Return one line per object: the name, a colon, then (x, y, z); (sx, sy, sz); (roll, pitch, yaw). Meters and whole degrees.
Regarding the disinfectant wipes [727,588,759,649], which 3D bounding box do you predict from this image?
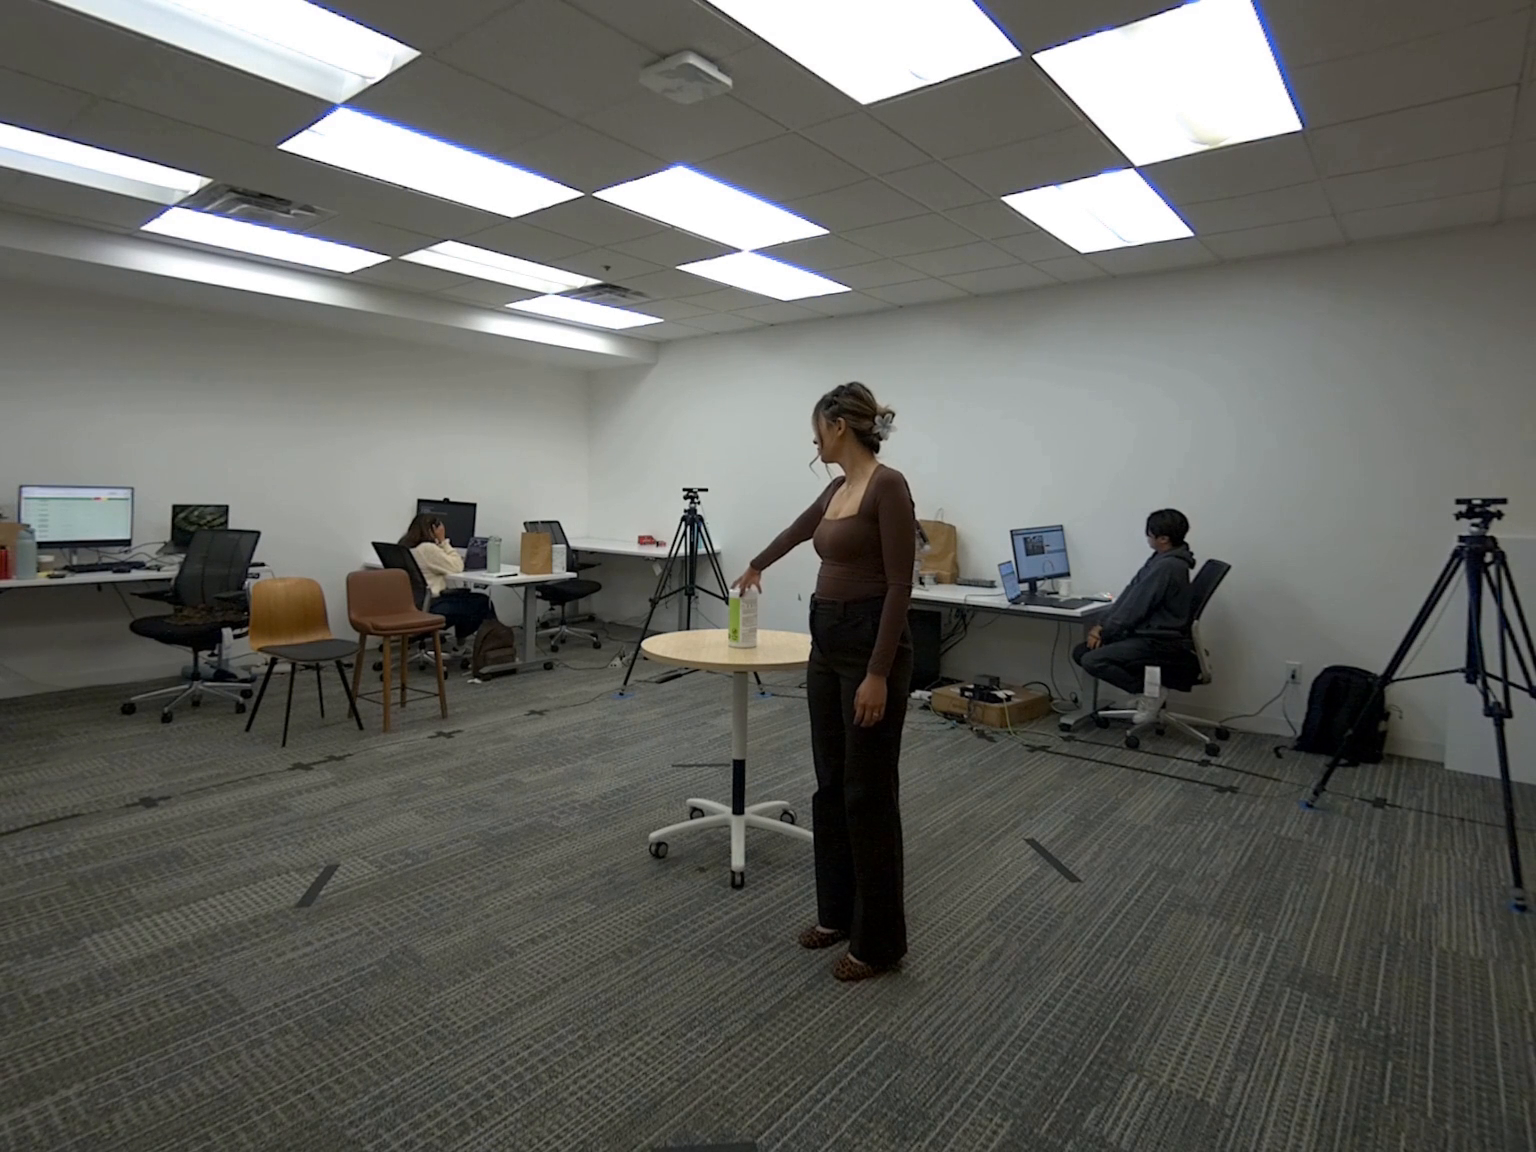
disinfectant wipes: (-0.102, 0.157, 3.227); (0.118, 0.217, 0.118); (-1, 3, -2)
